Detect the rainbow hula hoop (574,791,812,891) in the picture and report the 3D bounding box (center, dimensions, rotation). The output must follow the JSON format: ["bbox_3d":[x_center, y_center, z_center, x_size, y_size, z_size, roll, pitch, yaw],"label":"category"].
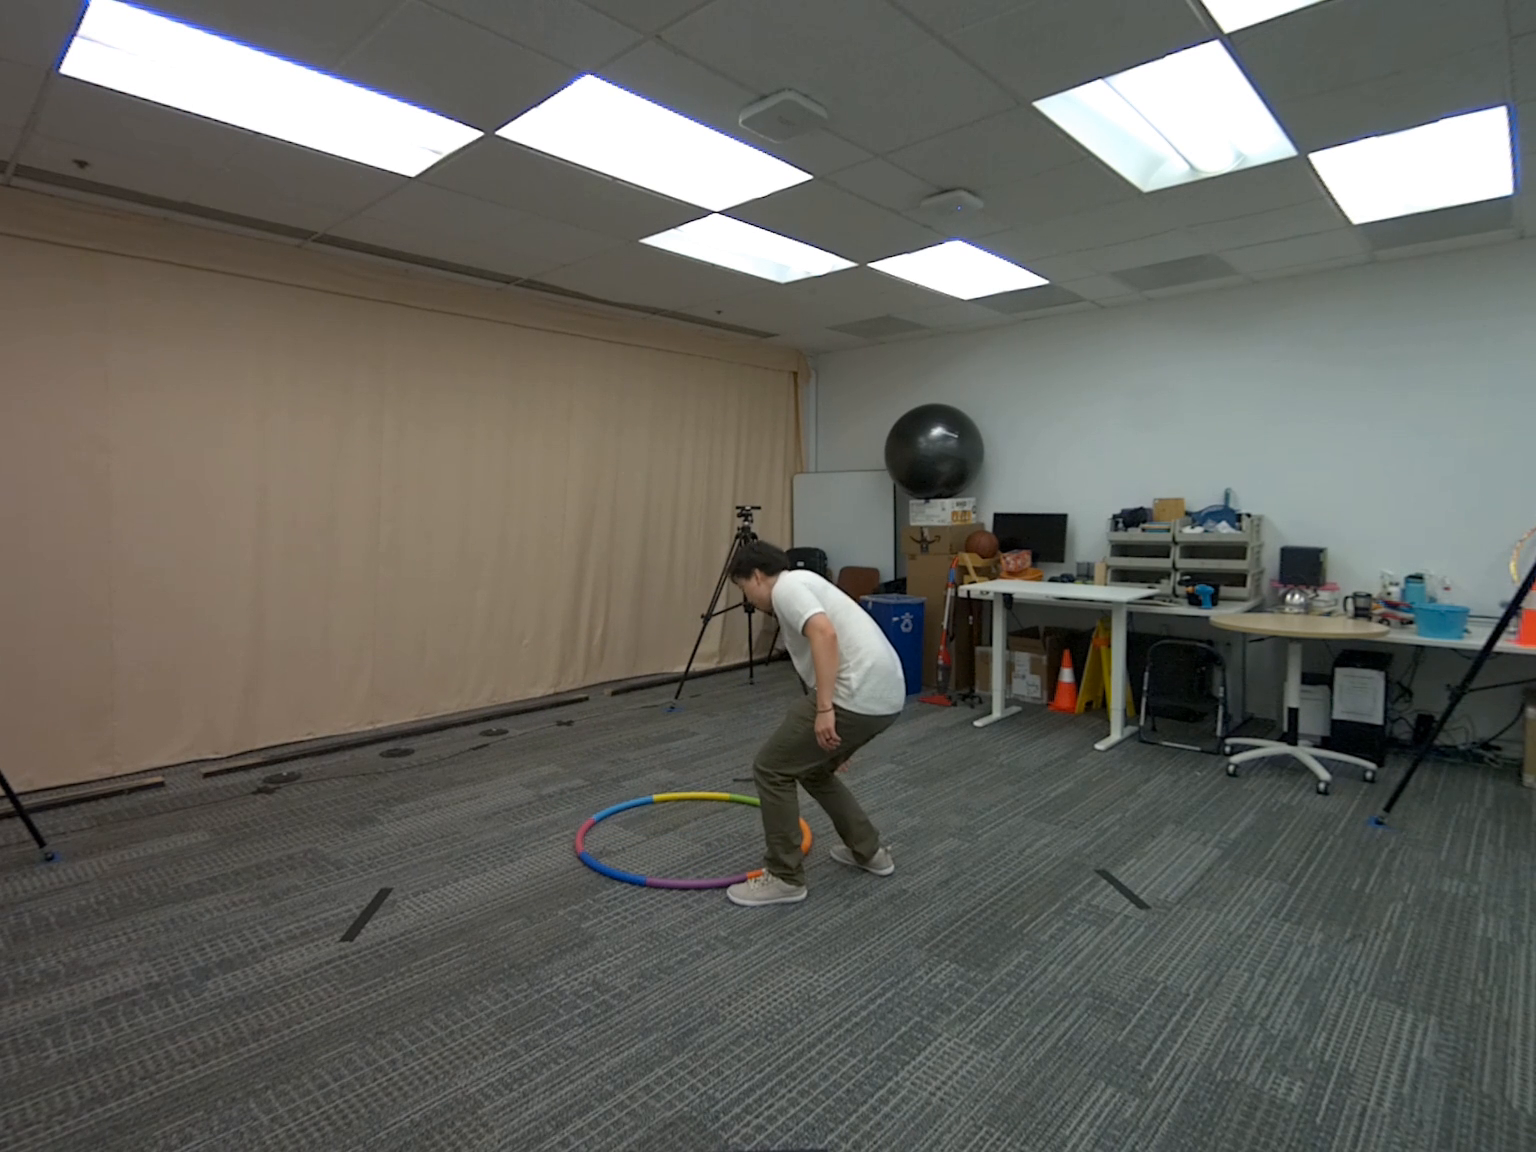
[{"bbox_3d":[-0.310,1.069,3.532,0.978,0.035,0.982,-1,5,-2],"label":"rainbow hula hoop"}]
